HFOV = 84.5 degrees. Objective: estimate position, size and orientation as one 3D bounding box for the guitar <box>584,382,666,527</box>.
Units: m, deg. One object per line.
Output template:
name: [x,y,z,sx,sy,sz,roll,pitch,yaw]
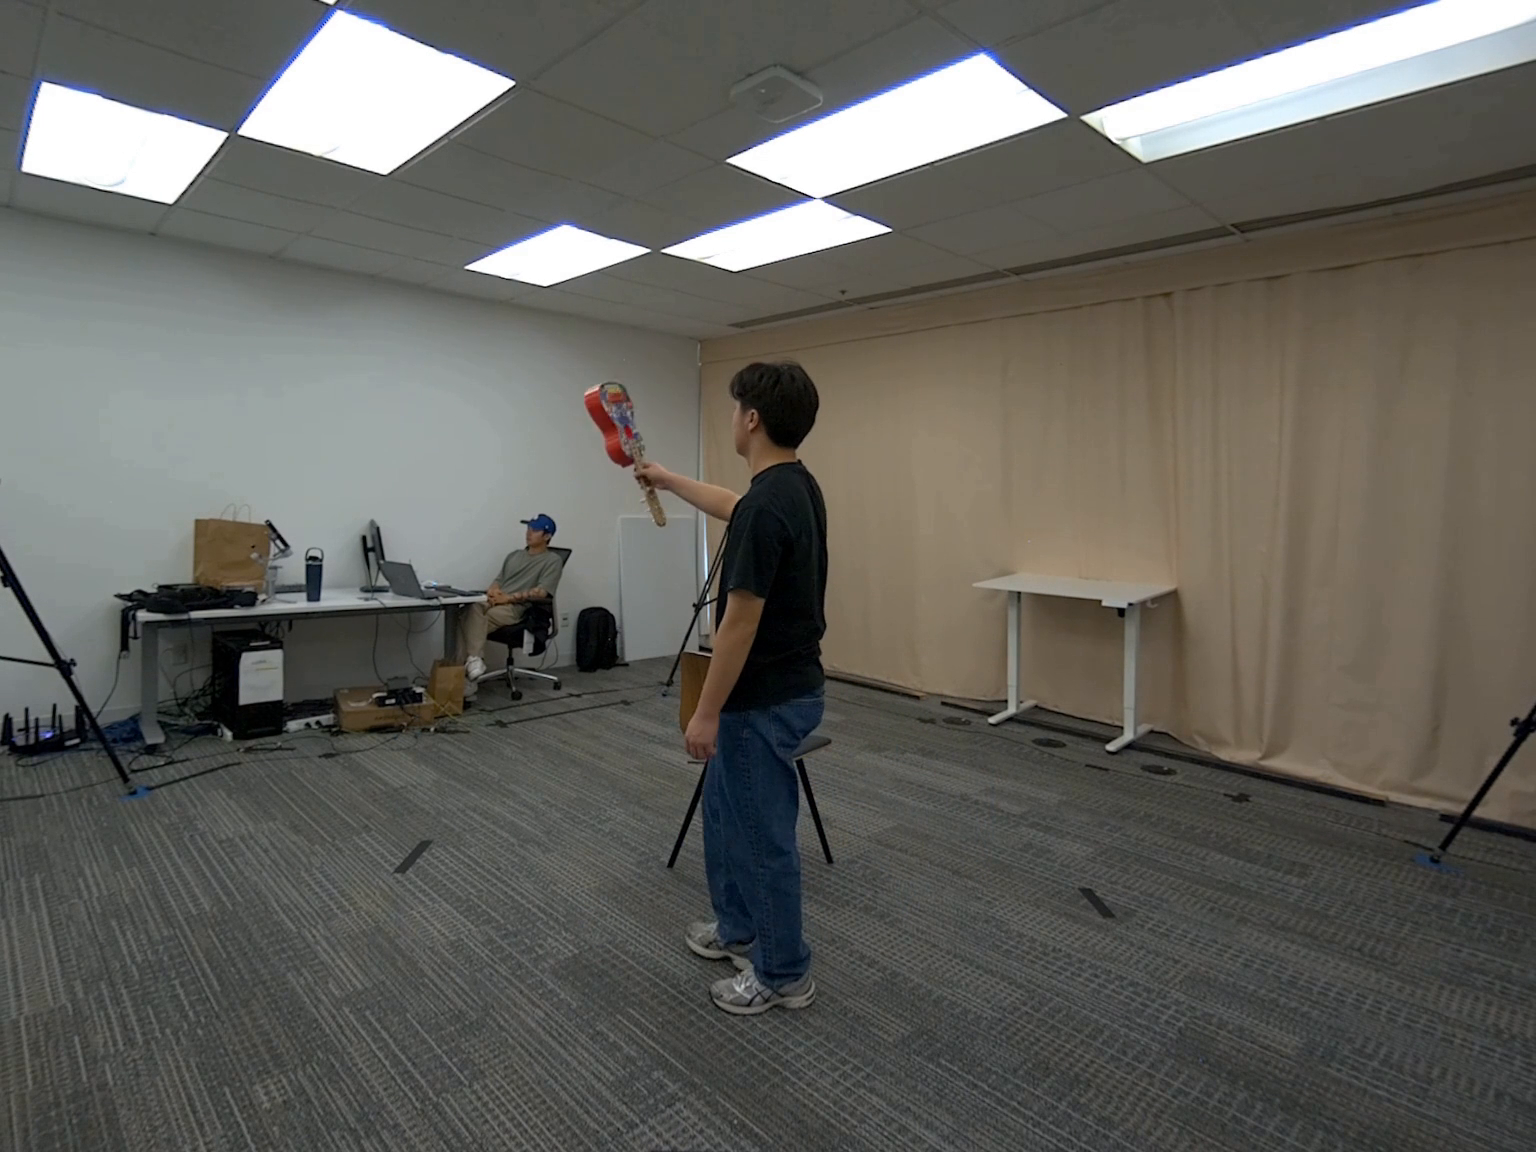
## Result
guitar: [-0.470,-0.377,2.731,0.071,0.500,0.190,-18,-4,23]
